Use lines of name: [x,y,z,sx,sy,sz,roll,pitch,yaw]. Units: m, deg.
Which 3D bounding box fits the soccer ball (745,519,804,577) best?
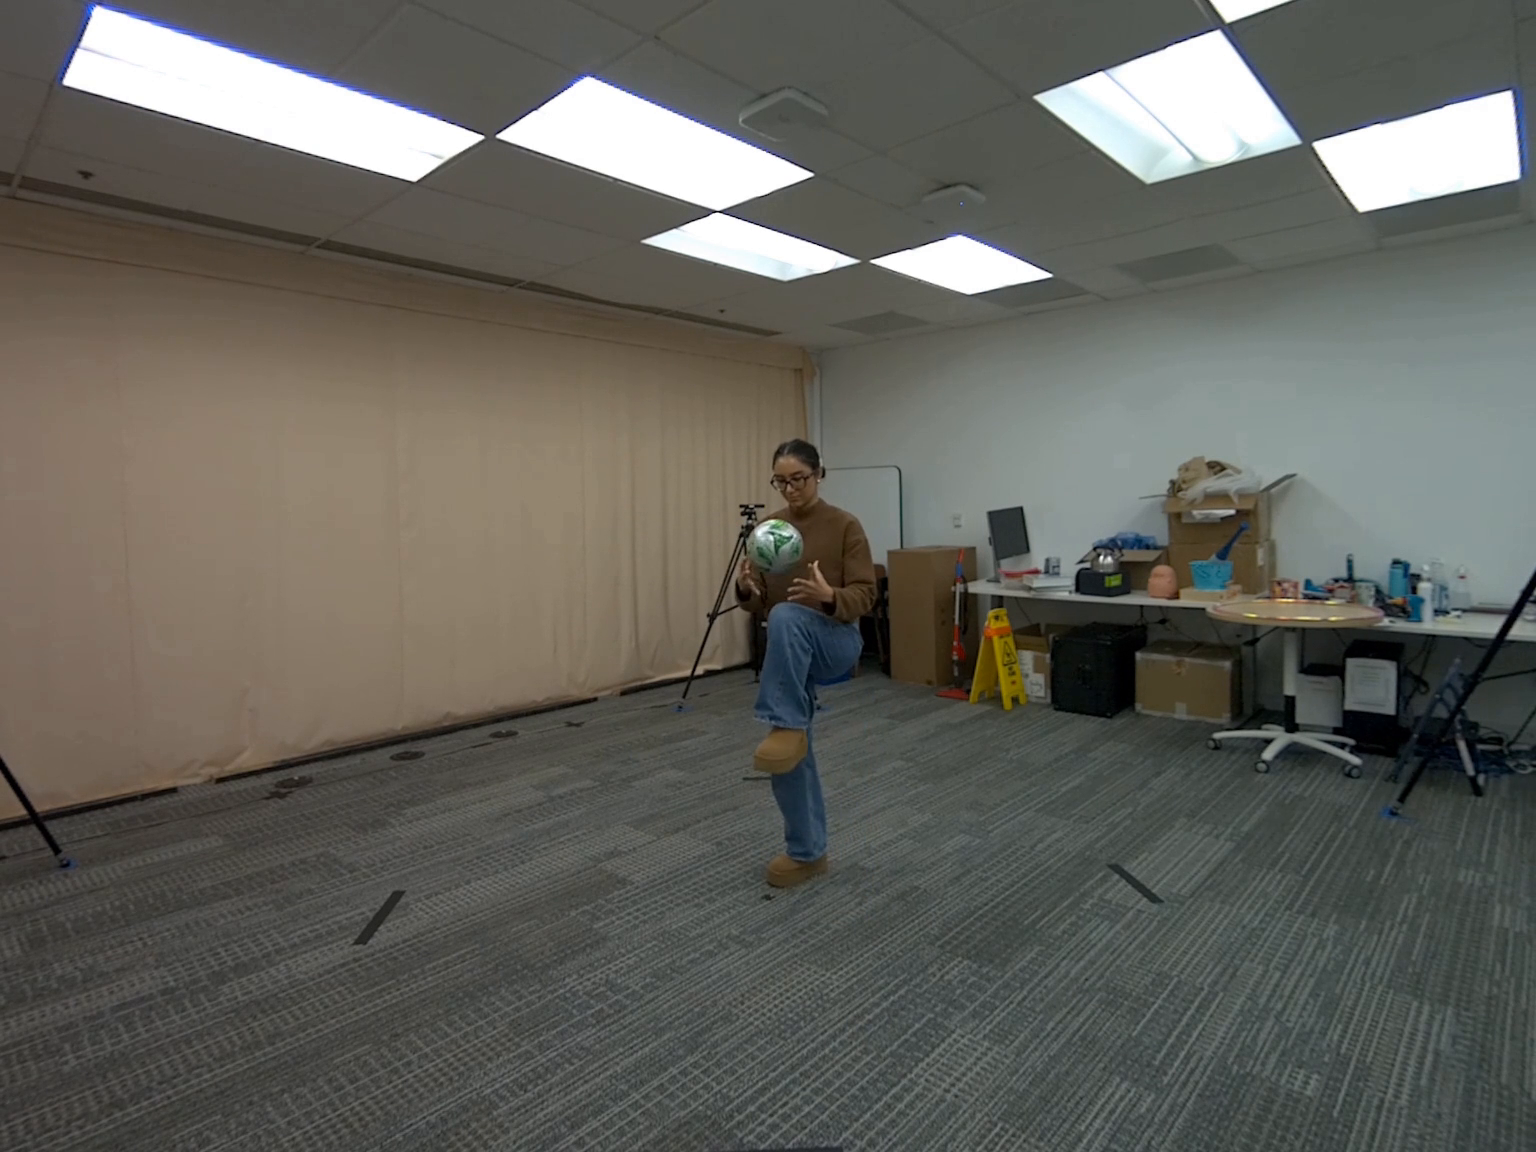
soccer ball: [0.023,-0.071,2.781,0.187,0.187,0.188,-1,4,-2]
